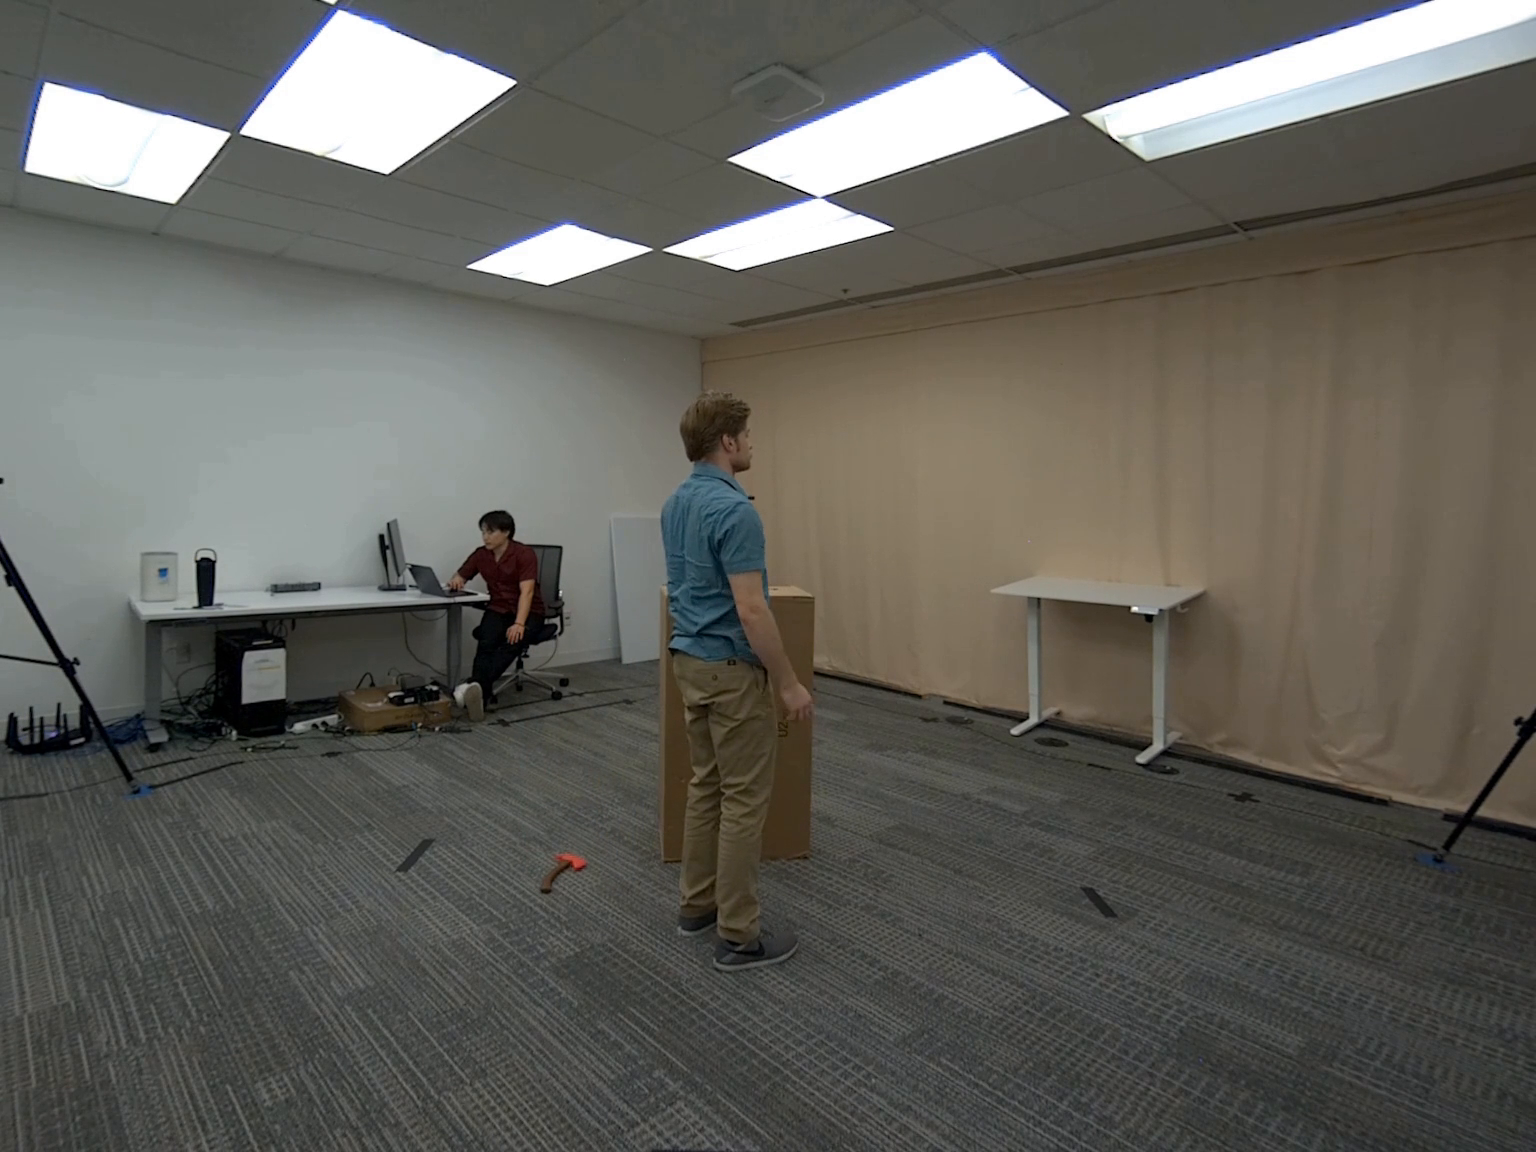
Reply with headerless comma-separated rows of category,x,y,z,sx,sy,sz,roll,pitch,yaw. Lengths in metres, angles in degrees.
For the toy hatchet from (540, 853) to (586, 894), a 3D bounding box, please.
toy hatchet,-0.748,1.085,3.056,0.131,0.029,0.272,5,8,-3
